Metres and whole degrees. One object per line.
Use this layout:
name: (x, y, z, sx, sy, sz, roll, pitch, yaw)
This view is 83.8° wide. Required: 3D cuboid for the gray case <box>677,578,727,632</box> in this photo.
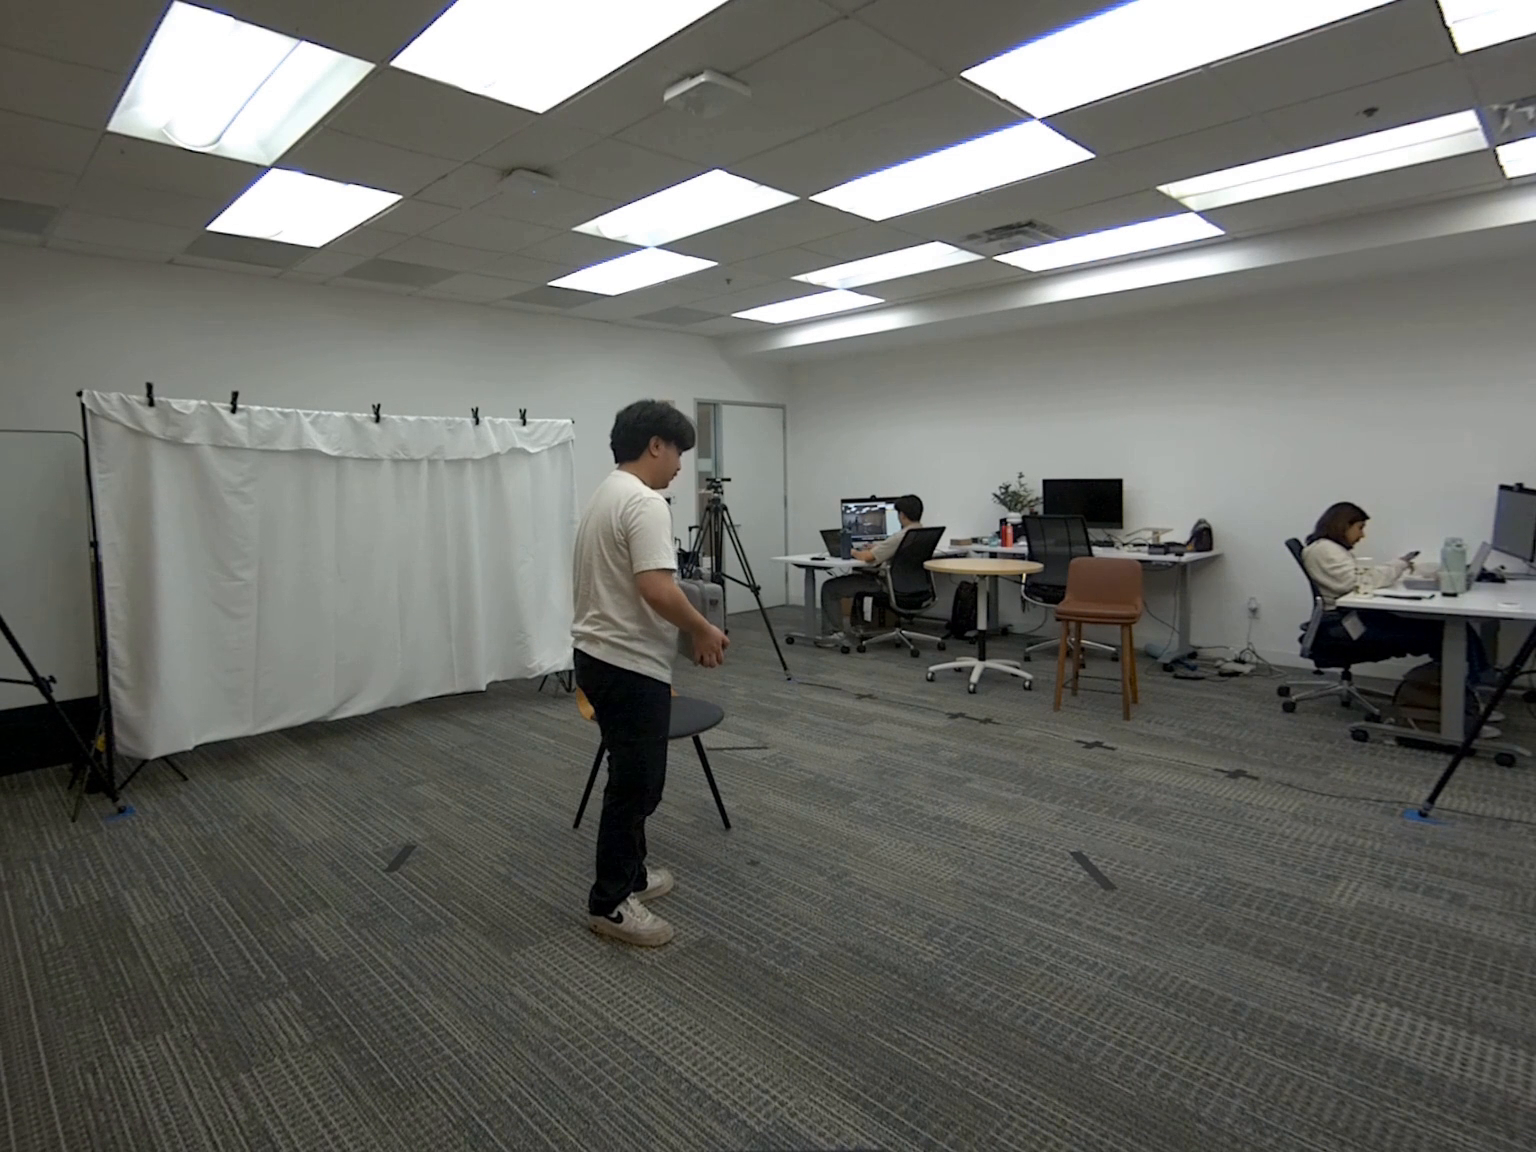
gray case: (-0.223, 0.139, 2.794, 0.102, 0.260, 0.263, -2, 5, -24)
